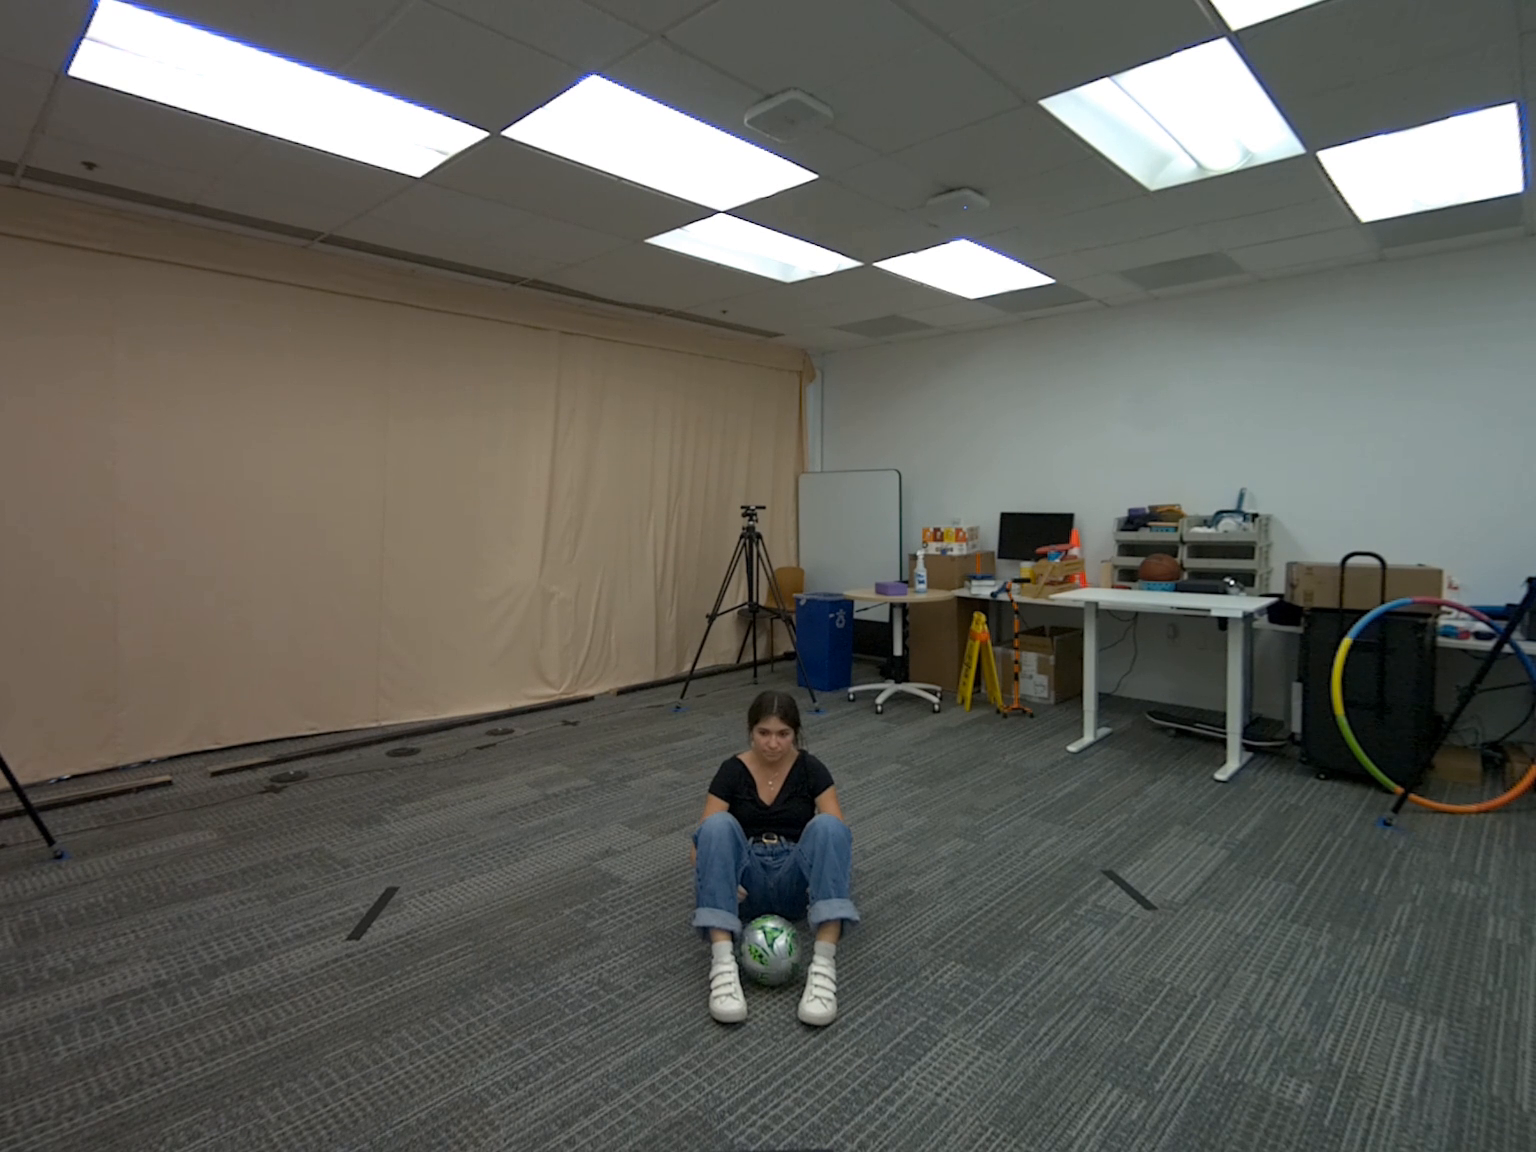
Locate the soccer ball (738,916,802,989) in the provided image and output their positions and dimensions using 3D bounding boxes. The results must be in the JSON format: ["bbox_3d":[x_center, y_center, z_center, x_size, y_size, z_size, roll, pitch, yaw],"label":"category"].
[{"bbox_3d":[0.011,1.088,2.470,0.187,0.187,0.188,3,4,-2],"label":"soccer ball"}]
